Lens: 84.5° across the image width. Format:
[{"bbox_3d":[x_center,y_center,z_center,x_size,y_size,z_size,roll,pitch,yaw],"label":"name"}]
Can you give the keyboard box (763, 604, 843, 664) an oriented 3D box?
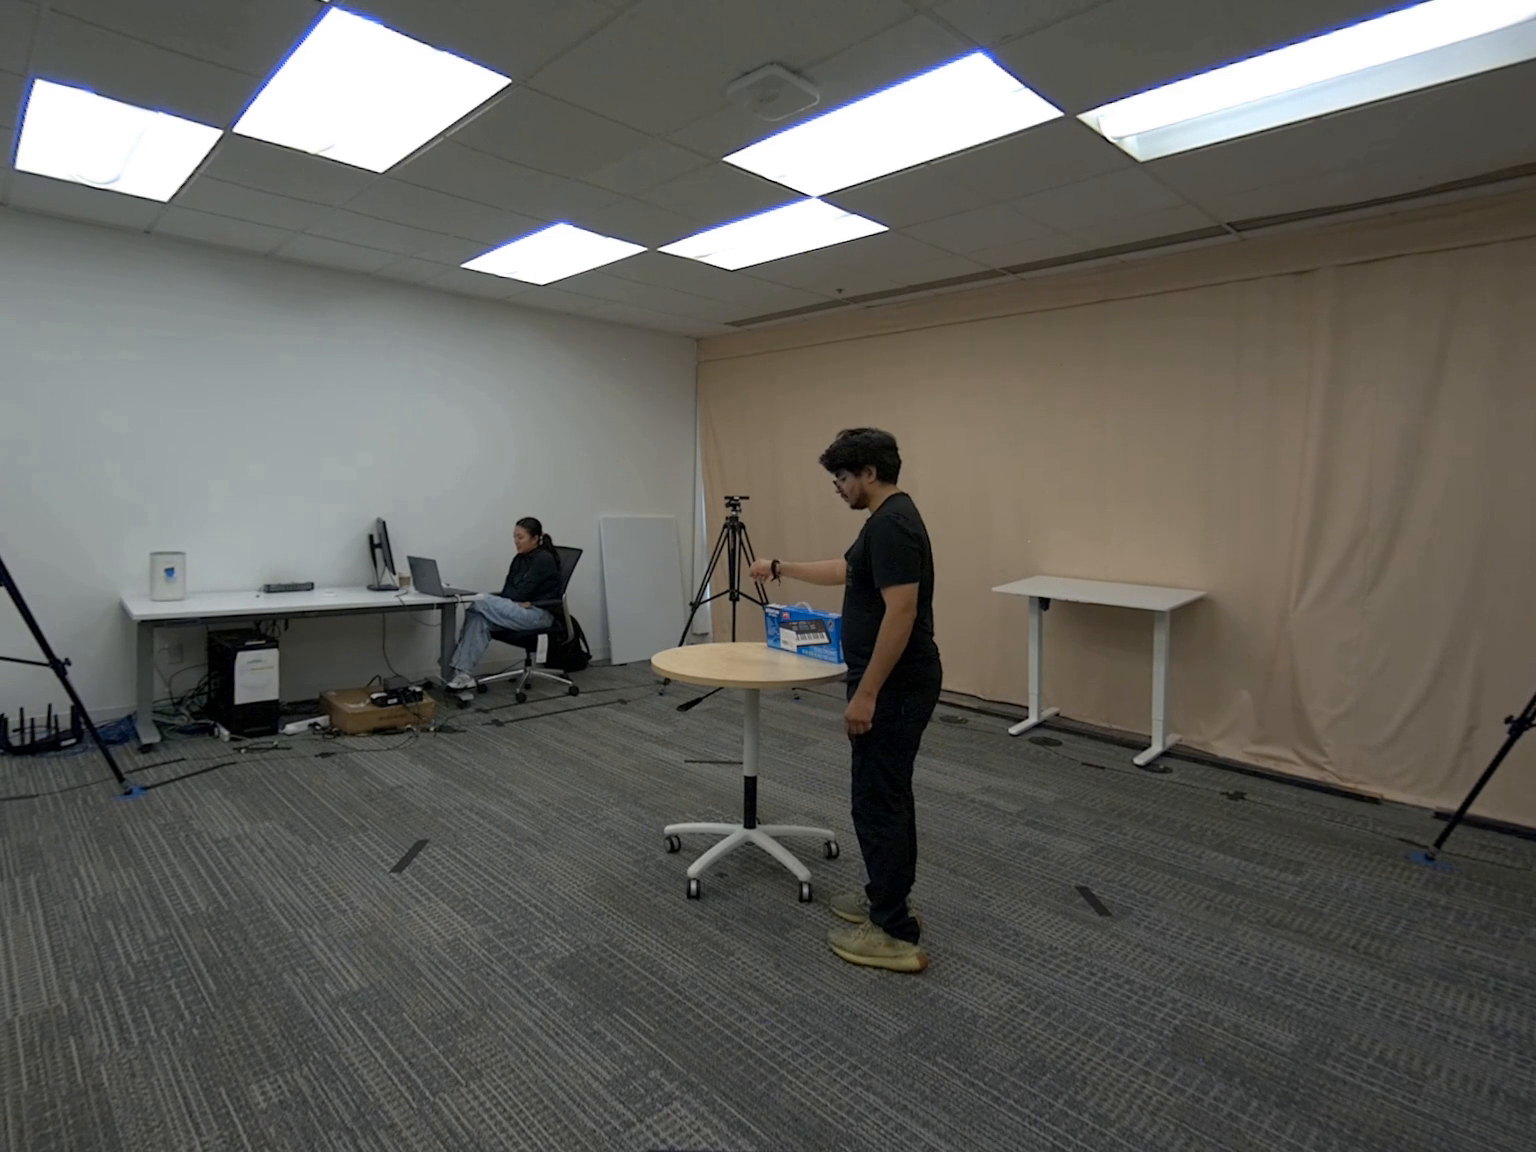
[{"bbox_3d":[0.139,0.221,3.290,0.058,0.175,0.447,-9,9,-35],"label":"keyboard box"}]
